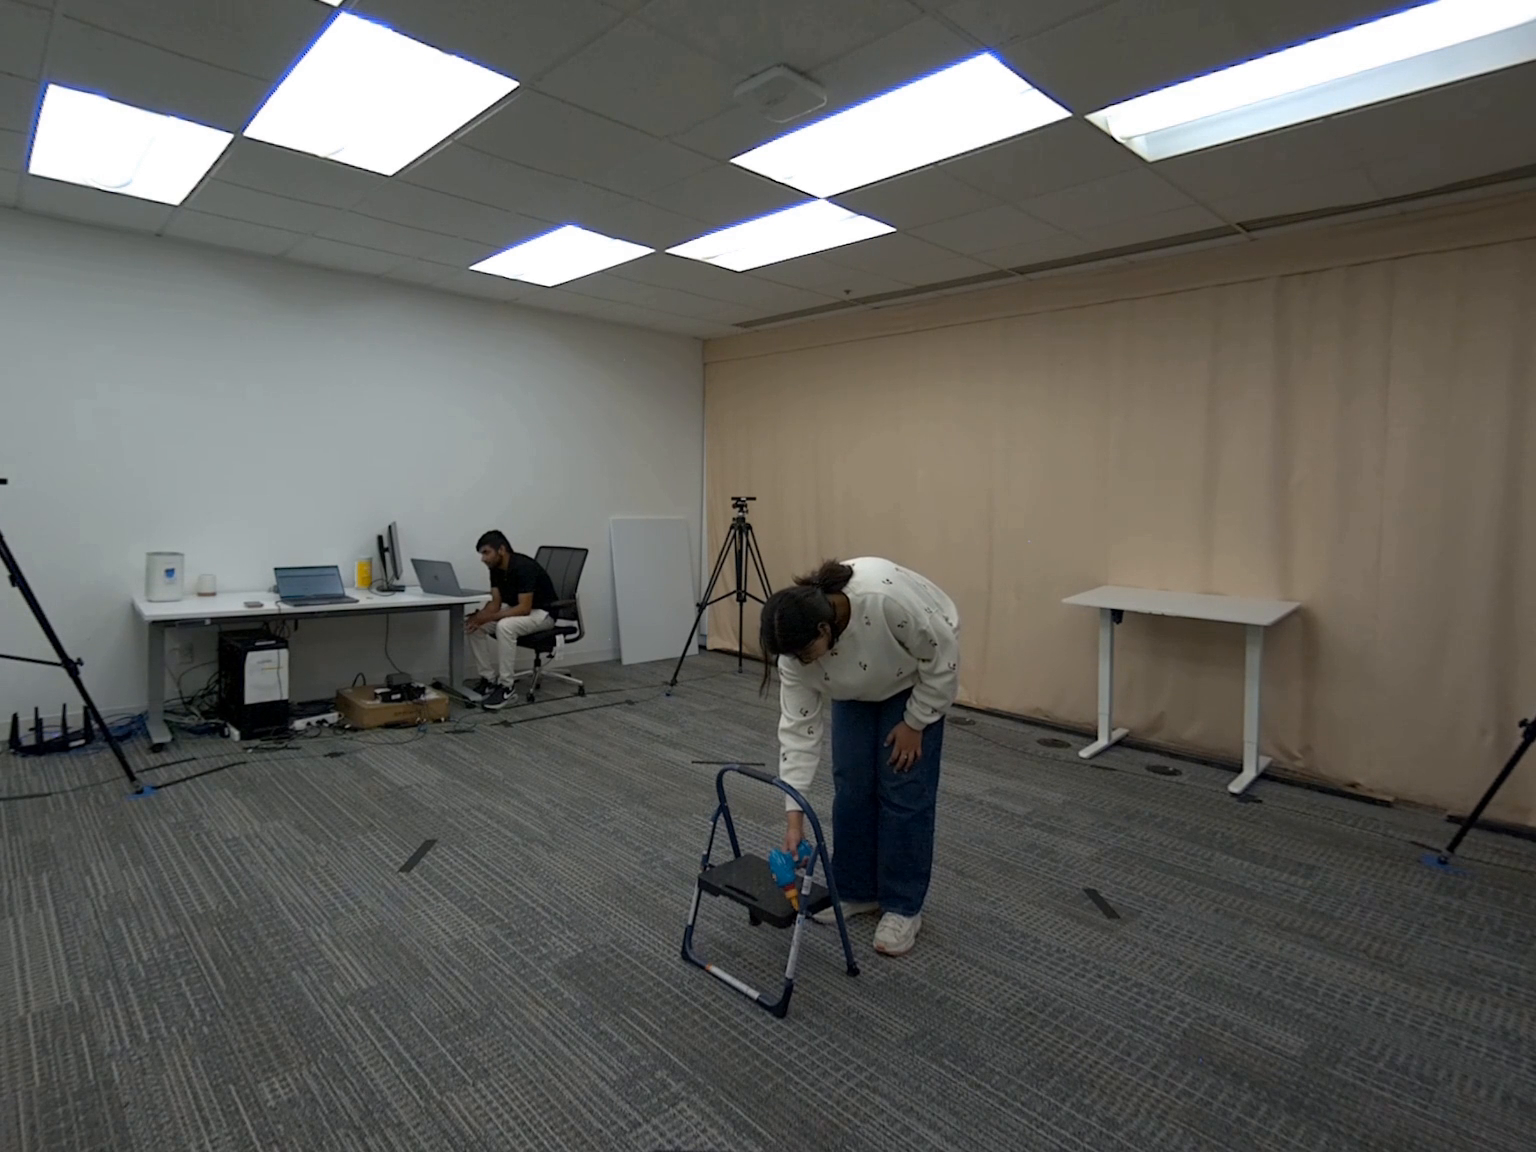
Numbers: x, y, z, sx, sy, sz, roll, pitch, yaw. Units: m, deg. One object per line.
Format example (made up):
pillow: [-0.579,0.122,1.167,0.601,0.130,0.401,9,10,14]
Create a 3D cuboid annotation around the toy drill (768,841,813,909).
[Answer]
toy drill: [0.076,0.848,2.351,0.143,0.173,0.061,-10,-23,-33]
